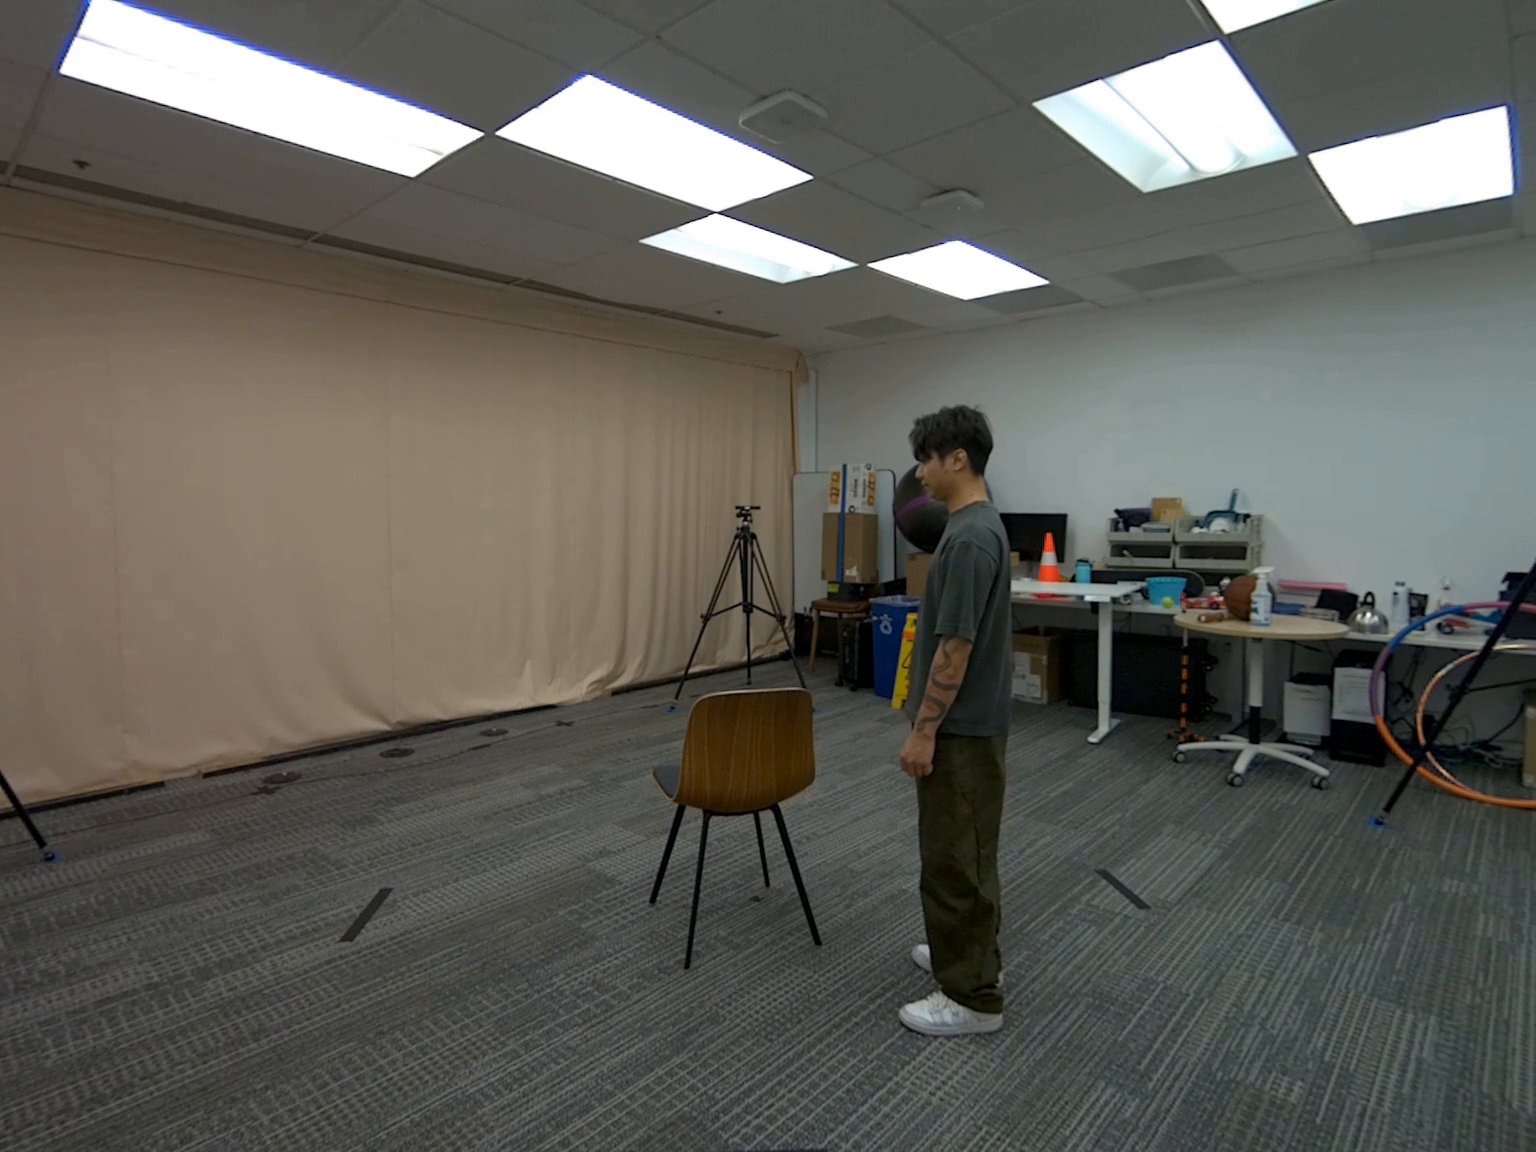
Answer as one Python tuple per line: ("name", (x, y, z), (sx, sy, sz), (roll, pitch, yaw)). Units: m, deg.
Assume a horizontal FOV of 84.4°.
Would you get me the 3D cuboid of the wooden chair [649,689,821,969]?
("wooden chair", (-0.124, 0.734, 2.788), (0.469, 0.873, 0.536), (-2, 8, -20))
